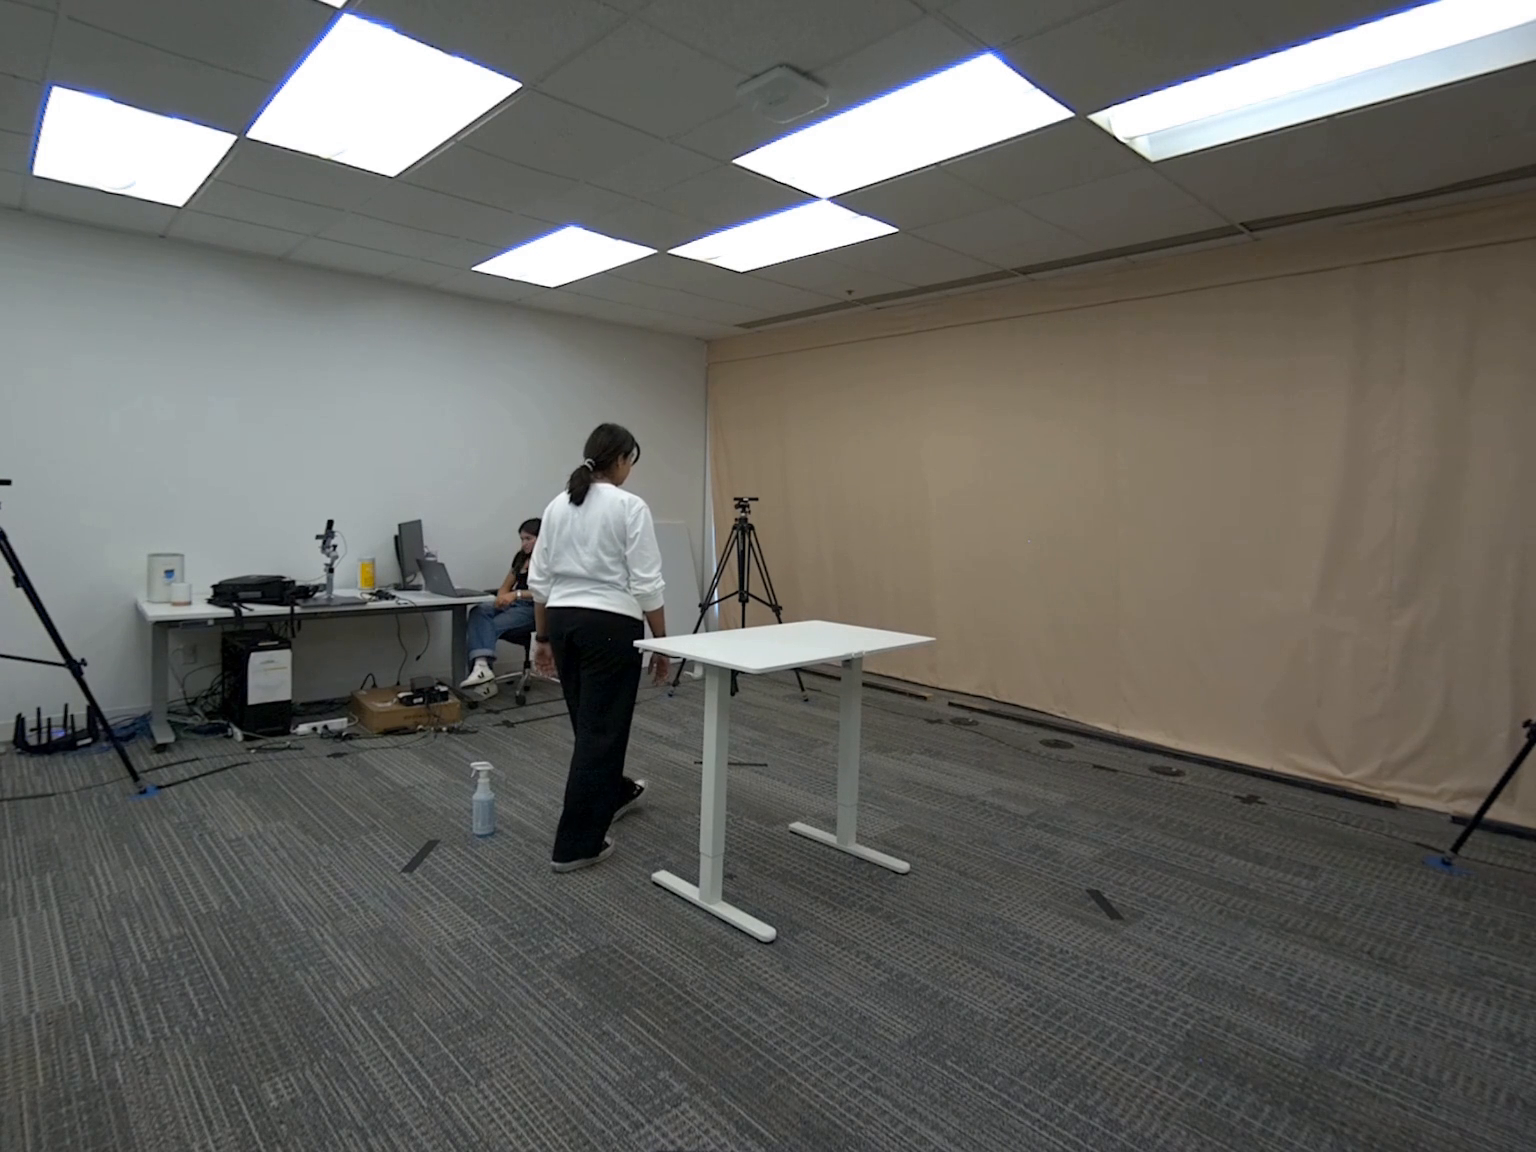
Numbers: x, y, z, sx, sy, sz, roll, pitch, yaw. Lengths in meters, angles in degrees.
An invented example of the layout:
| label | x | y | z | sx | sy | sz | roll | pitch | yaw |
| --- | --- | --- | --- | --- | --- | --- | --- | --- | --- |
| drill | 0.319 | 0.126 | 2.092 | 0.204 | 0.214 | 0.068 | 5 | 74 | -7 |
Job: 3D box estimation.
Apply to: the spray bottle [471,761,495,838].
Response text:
| label | x | y | z | sx | sy | sz | roll | pitch | yaw |
| --- | --- | --- | --- | --- | --- | --- | --- | --- | --- |
| spray bottle | -1.169 | 0.910 | 3.438 | 0.090 | 0.296 | 0.087 | 0 | 5 | 4 |
